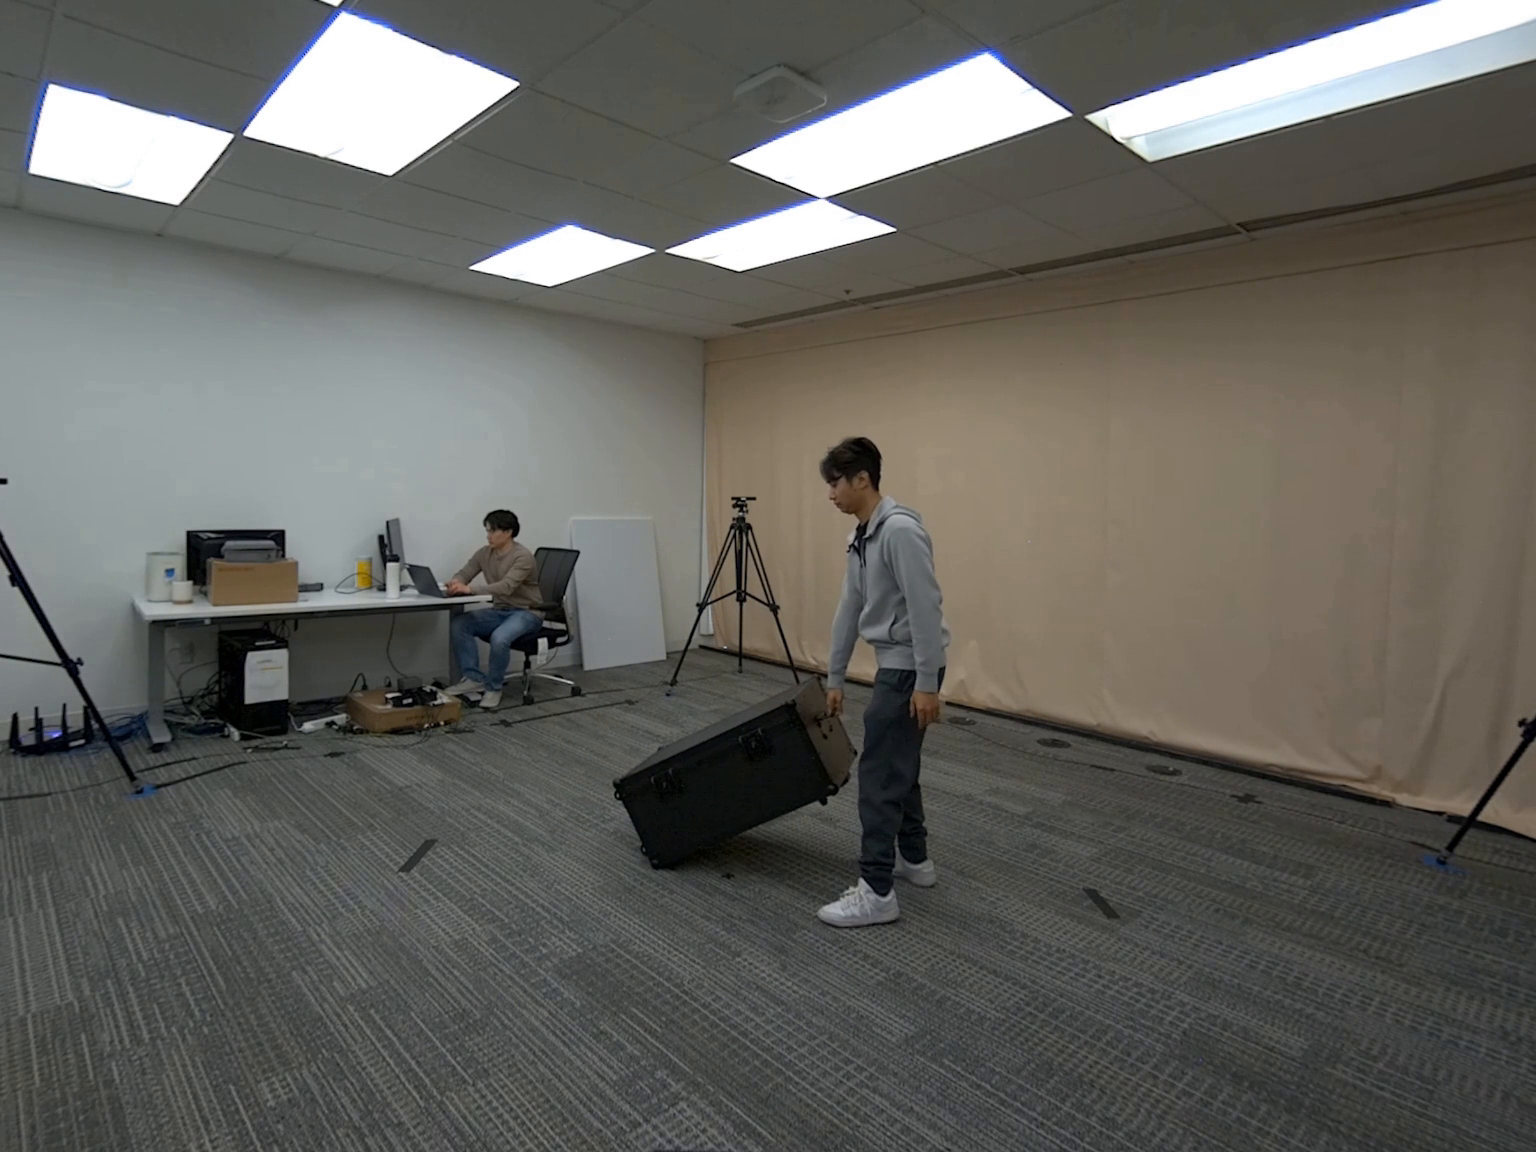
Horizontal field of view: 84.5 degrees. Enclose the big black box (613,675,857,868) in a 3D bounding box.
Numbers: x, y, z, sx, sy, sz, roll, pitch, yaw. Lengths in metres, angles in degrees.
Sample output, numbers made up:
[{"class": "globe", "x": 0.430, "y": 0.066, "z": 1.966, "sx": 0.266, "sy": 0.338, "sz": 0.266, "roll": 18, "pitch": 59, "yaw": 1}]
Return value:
[{"class": "big black box", "x": -0.138, "y": 0.774, "z": 3.291, "sx": 0.866, "sy": 0.398, "sz": 0.515, "roll": -27, "pitch": -4, "yaw": 16}]
